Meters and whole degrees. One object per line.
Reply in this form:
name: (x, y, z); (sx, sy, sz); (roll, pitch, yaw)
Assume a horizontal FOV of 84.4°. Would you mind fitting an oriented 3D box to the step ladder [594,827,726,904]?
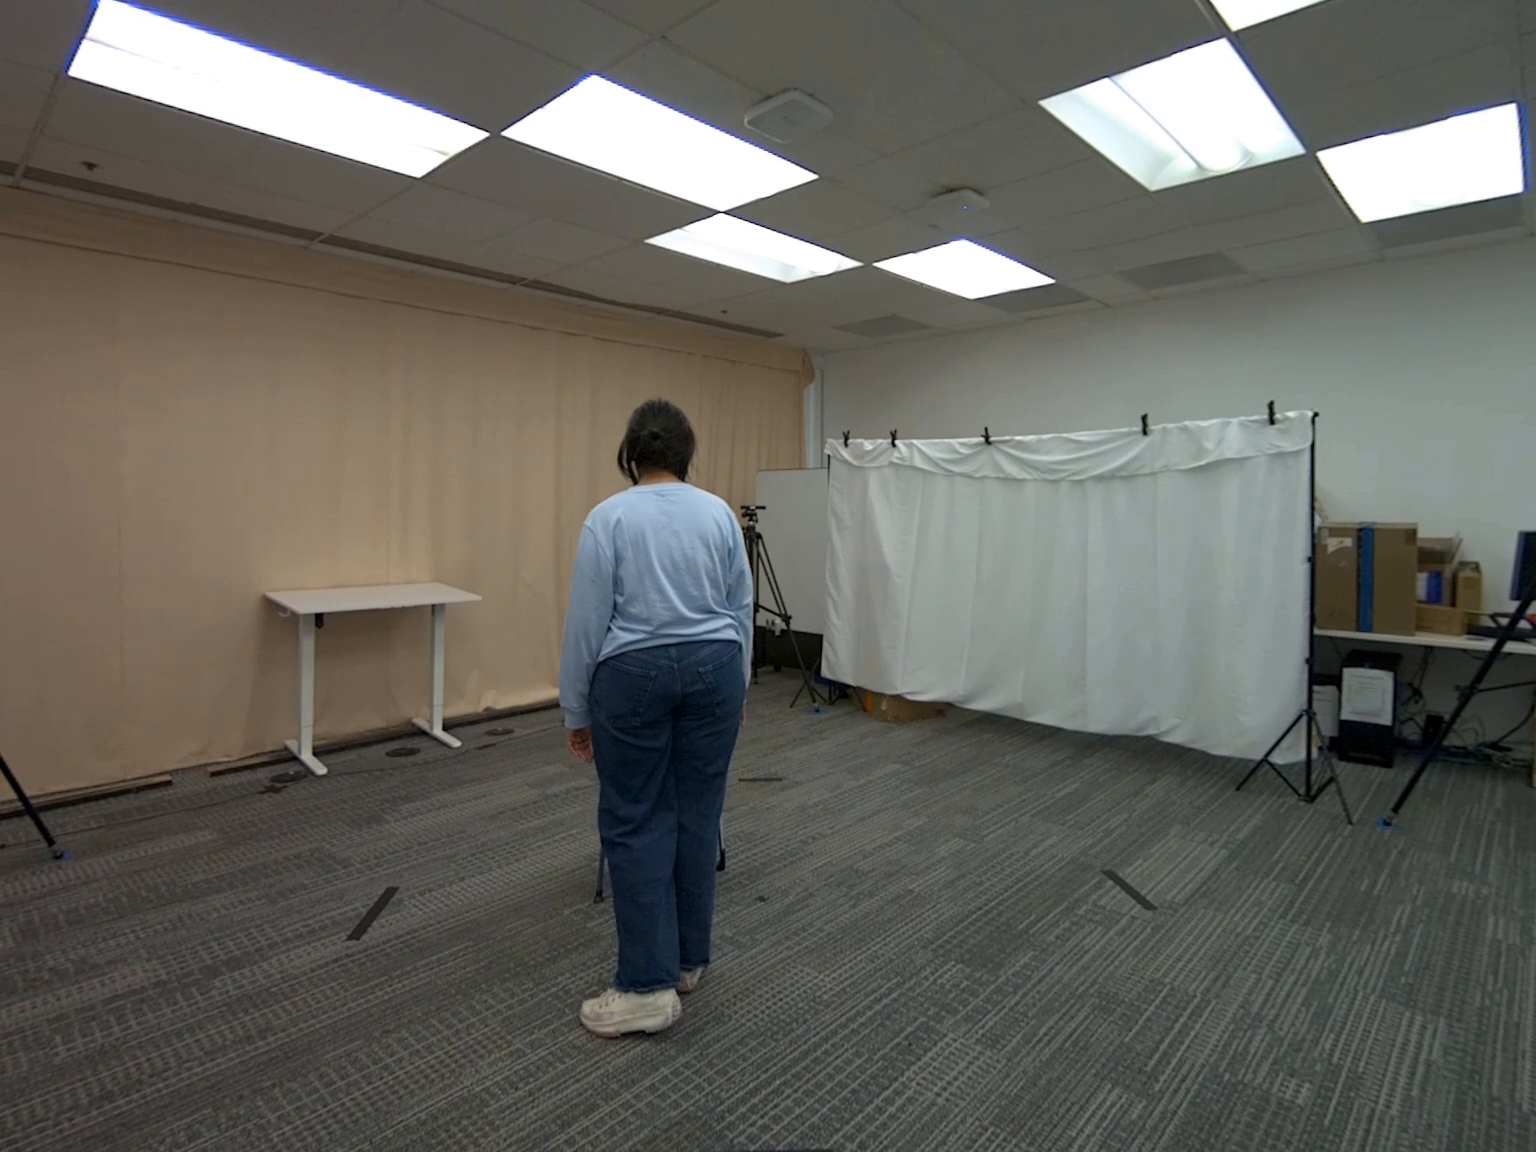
step ladder: (-0.390, 0.836, 3.086); (0.435, 0.605, 0.346); (1, 4, 9)
